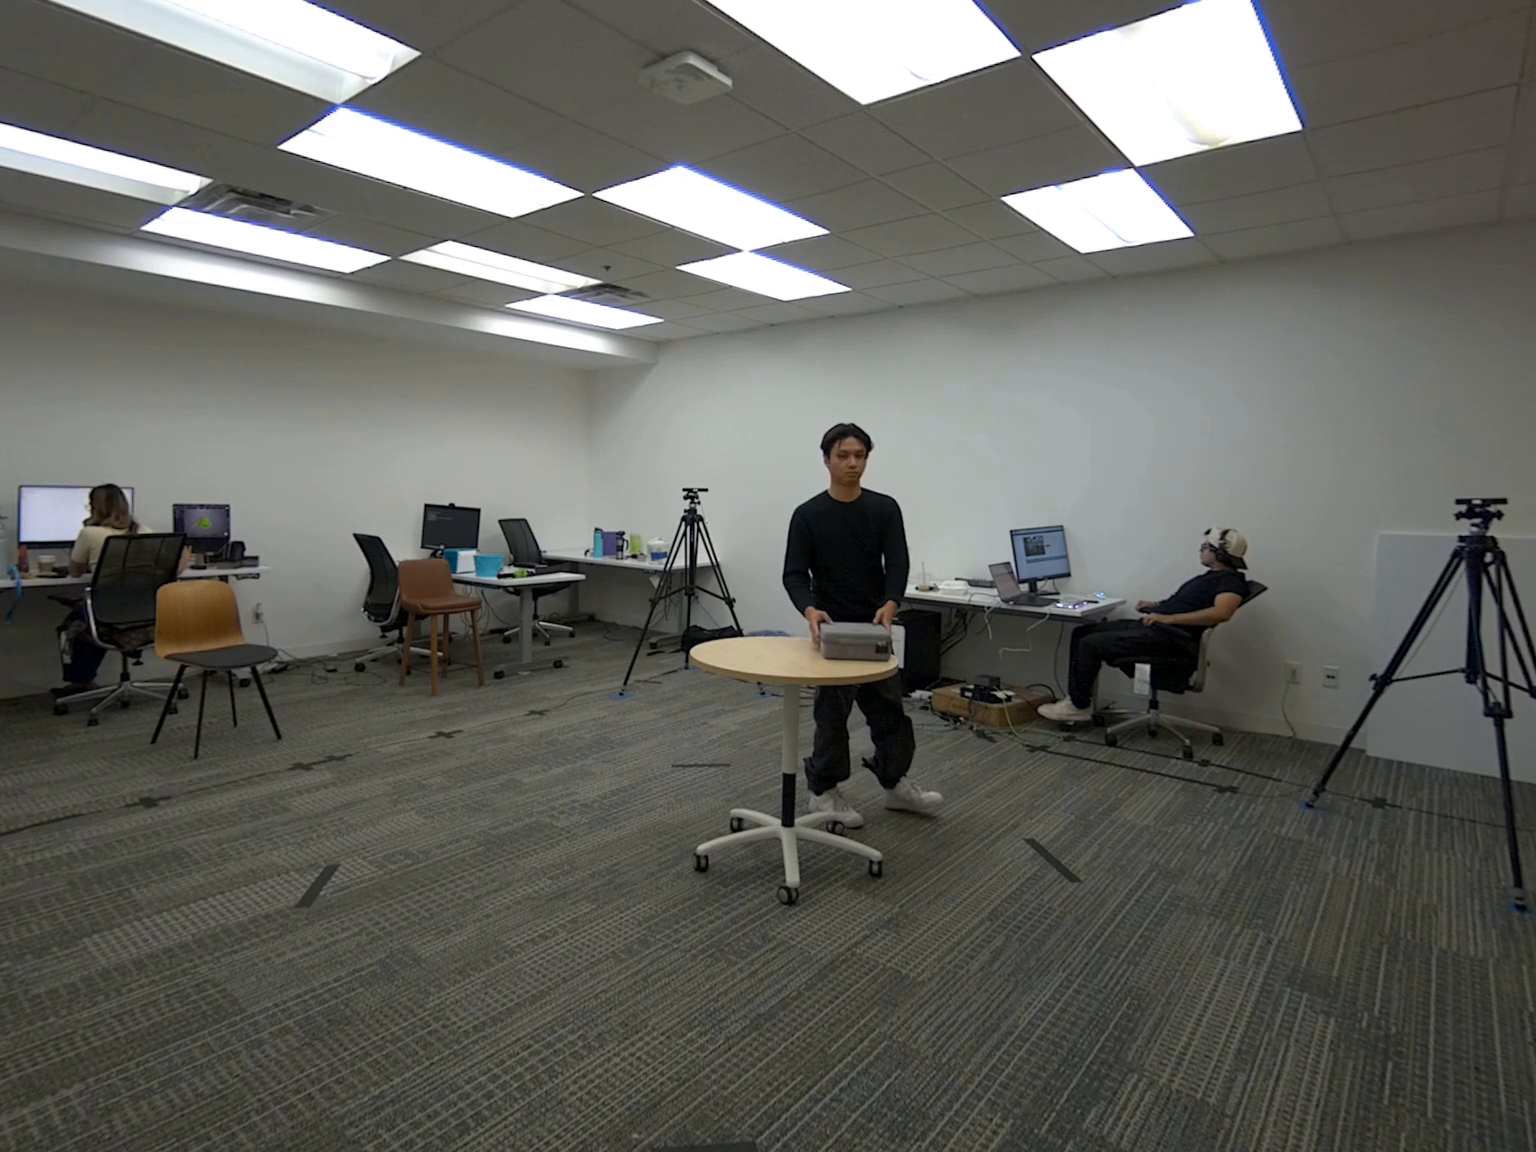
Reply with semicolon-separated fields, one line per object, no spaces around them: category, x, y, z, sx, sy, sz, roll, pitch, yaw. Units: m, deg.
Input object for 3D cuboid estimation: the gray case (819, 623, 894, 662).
gray case;0.312;0.238;3.189;0.257;0.104;0.261;0;5;1
